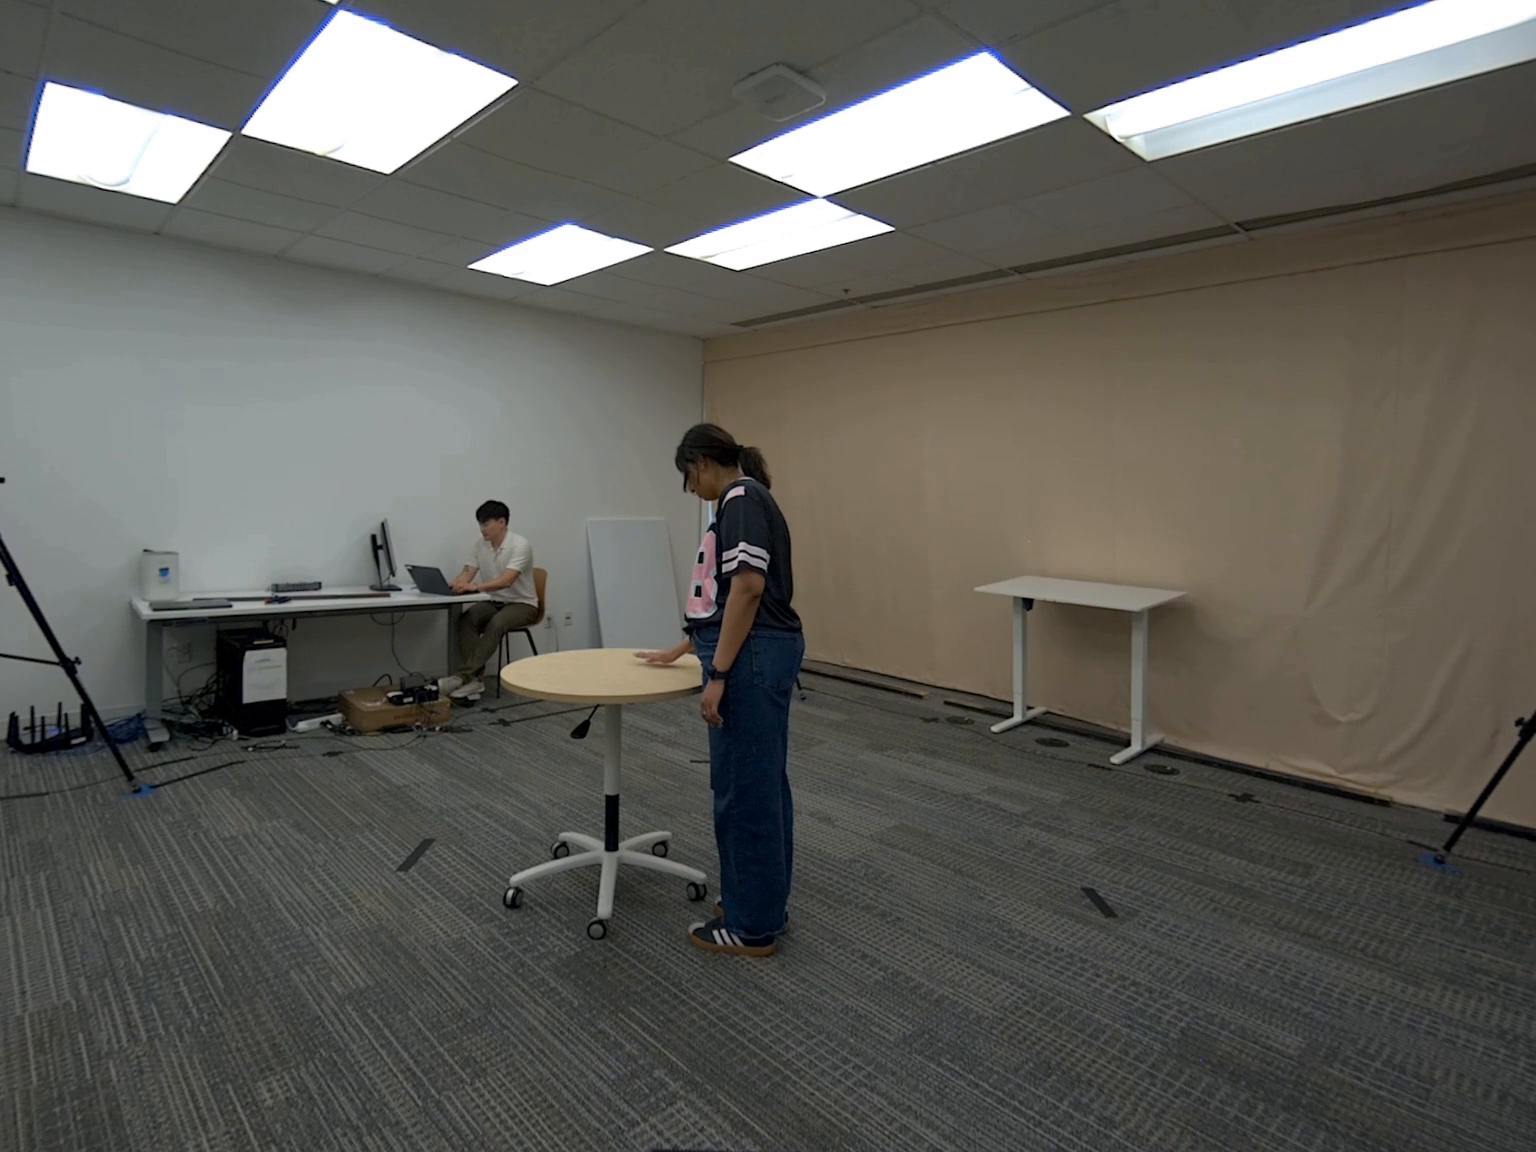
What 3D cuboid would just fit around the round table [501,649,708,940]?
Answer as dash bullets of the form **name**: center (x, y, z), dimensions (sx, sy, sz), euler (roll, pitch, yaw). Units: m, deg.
- **round table**: center (-0.562, 0.719, 2.949), dimensions (0.784, 0.784, 0.788), euler (1, 4, -1)
